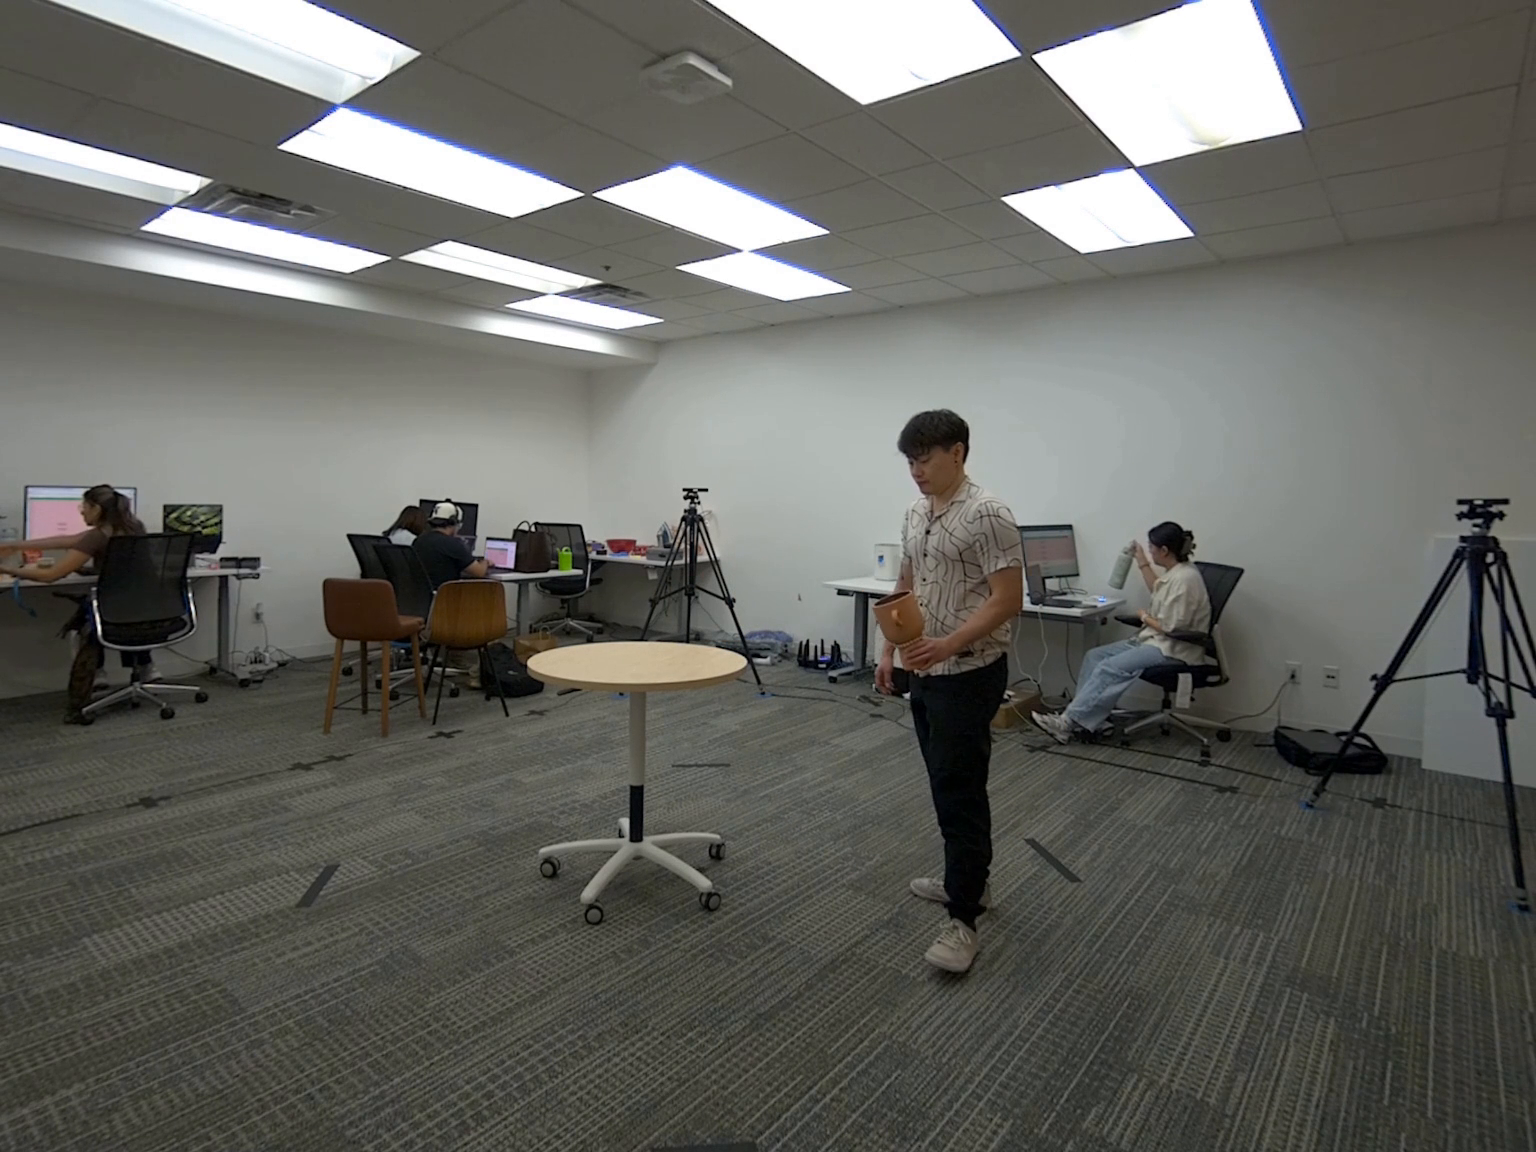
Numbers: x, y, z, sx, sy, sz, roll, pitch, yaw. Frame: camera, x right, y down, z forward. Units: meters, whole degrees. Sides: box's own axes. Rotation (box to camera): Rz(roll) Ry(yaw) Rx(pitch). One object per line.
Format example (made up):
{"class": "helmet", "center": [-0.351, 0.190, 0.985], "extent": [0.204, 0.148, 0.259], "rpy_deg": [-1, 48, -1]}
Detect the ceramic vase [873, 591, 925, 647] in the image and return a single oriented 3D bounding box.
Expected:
{"class": "ceramic vase", "center": [0.419, 0.162, 2.622], "extent": [0.156, 0.219, 0.137], "rpy_deg": [-25, 6, -37]}
